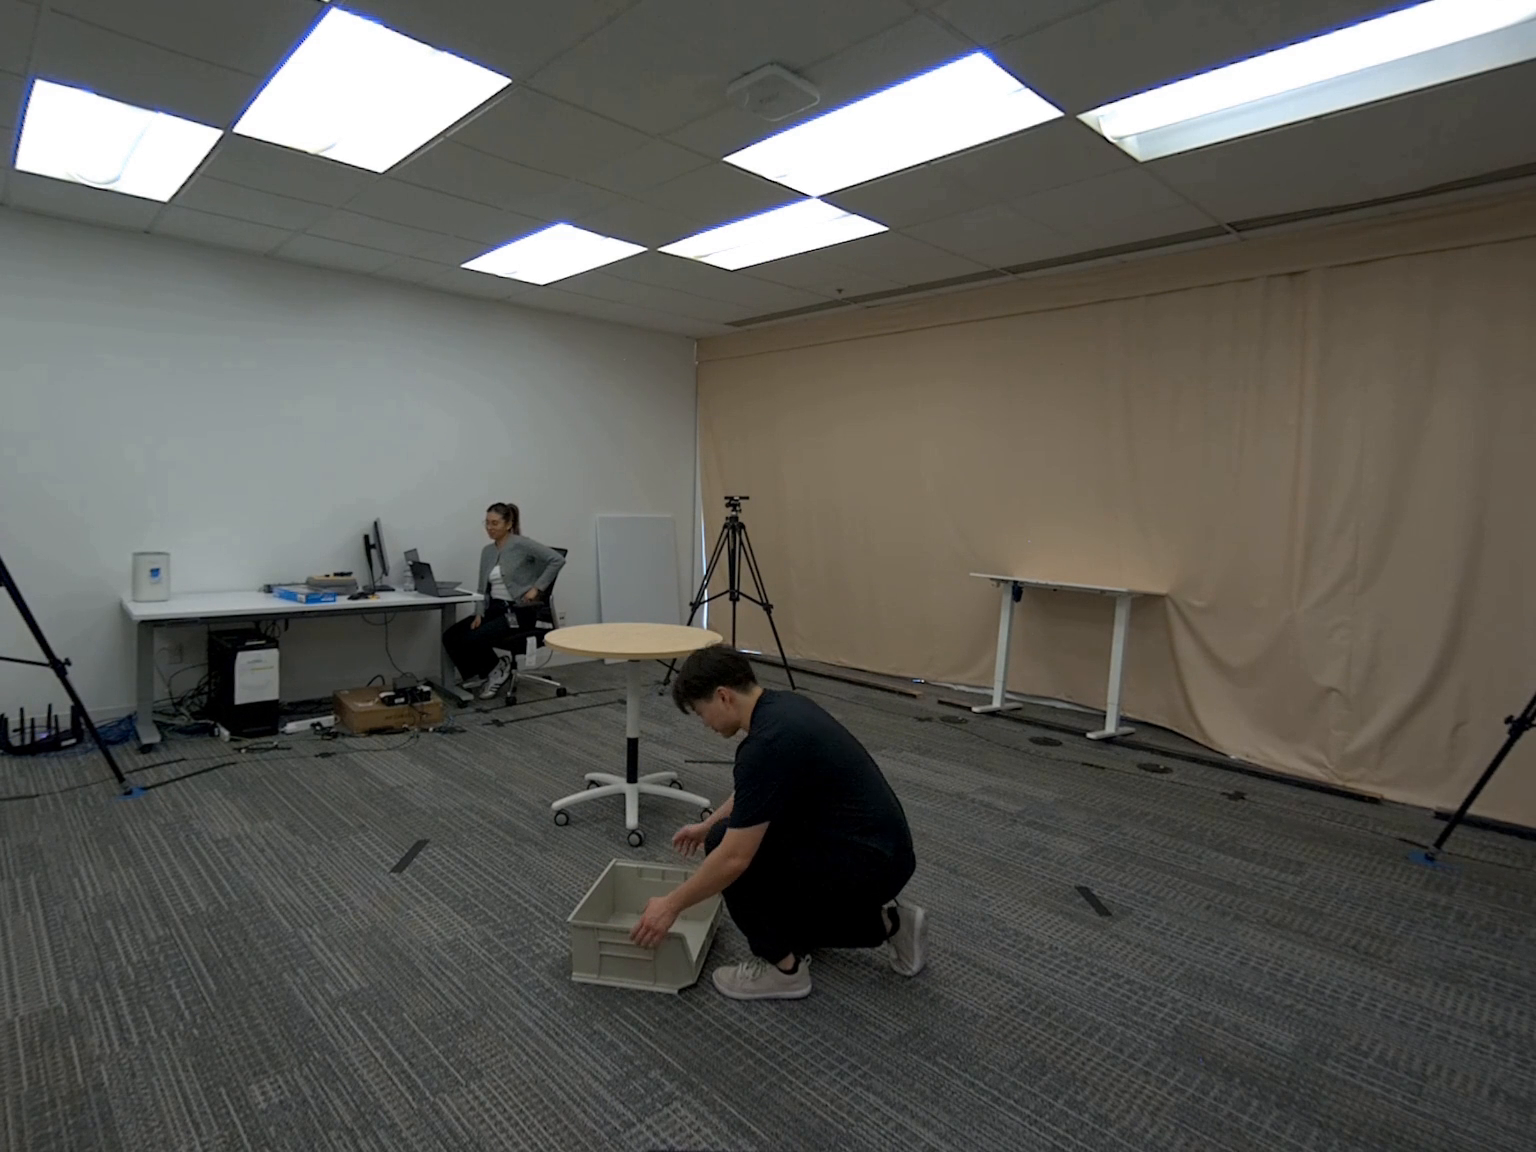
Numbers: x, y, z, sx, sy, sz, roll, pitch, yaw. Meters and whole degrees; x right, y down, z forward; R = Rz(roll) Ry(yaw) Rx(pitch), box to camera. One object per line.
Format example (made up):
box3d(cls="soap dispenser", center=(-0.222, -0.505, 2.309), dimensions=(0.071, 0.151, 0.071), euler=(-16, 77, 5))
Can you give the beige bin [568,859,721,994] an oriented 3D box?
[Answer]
box3d(cls="beige bin", center=(-0.359, 1.059, 2.571), dimensions=(0.380, 0.188, 0.420), euler=(2, 5, 9))
